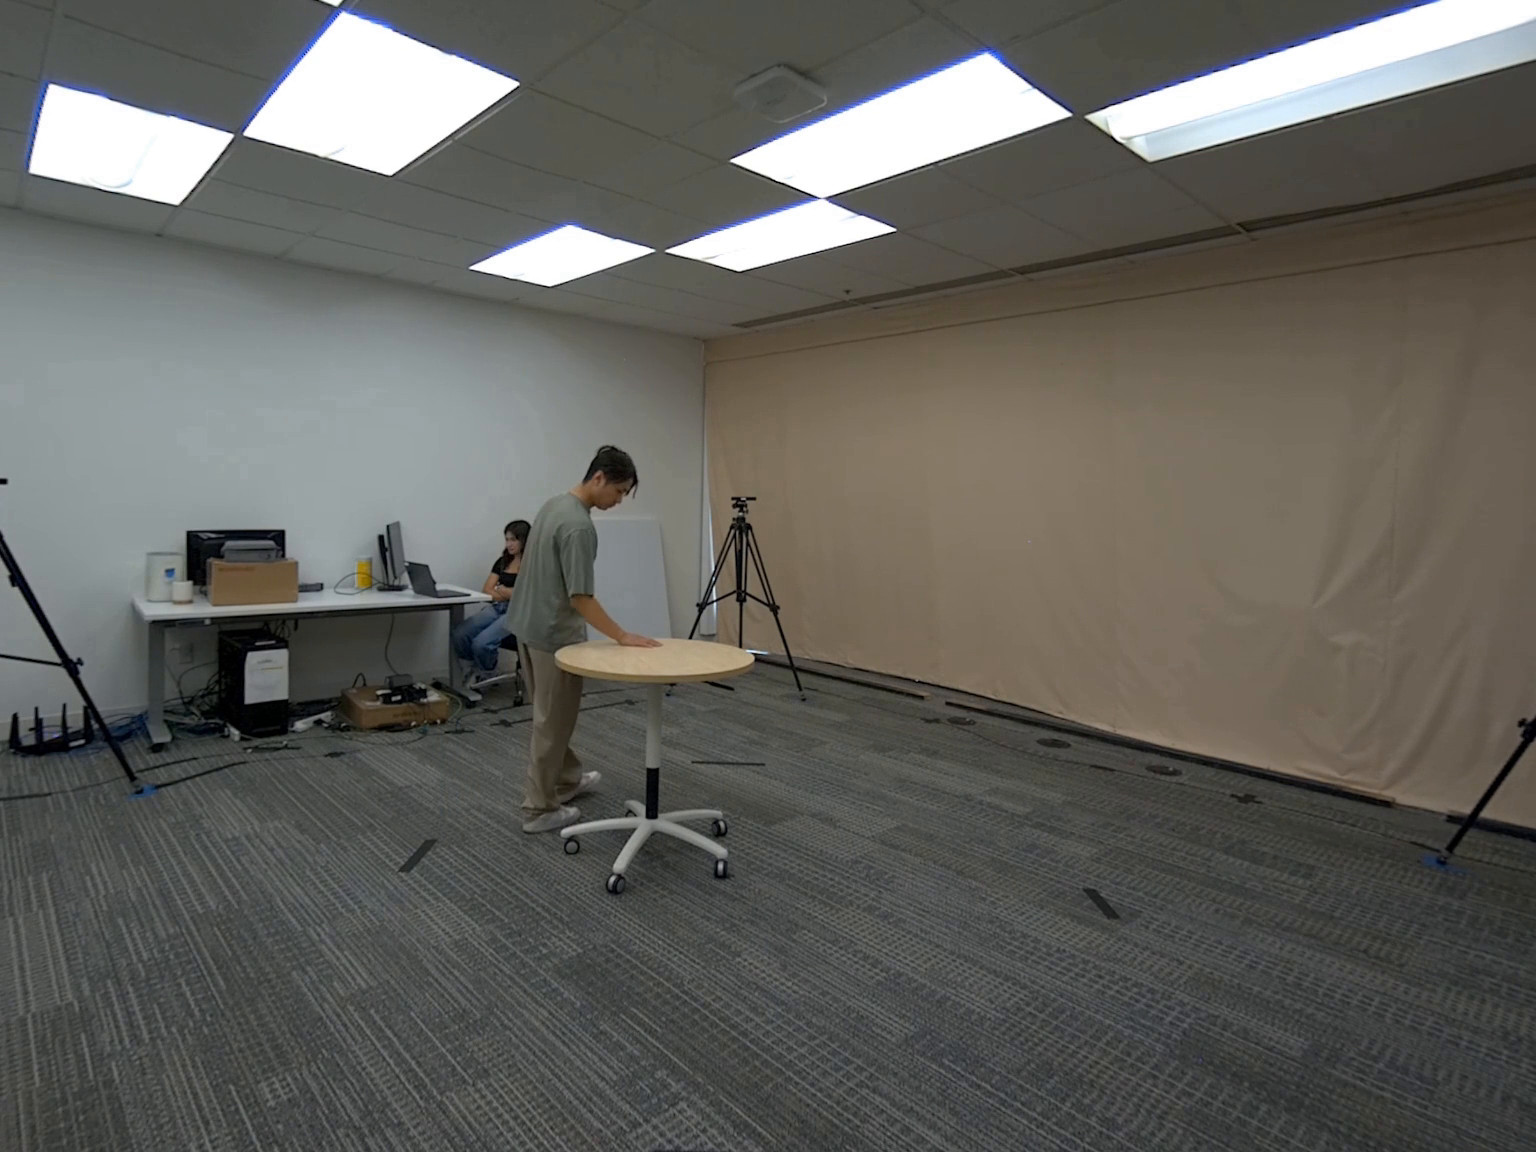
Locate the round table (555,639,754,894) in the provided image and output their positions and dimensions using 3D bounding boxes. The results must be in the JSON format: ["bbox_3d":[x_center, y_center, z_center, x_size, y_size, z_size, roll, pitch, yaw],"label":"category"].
[{"bbox_3d":[-0.455,0.699,3.270,0.763,0.792,0.766,1,4,-1],"label":"round table"}]
